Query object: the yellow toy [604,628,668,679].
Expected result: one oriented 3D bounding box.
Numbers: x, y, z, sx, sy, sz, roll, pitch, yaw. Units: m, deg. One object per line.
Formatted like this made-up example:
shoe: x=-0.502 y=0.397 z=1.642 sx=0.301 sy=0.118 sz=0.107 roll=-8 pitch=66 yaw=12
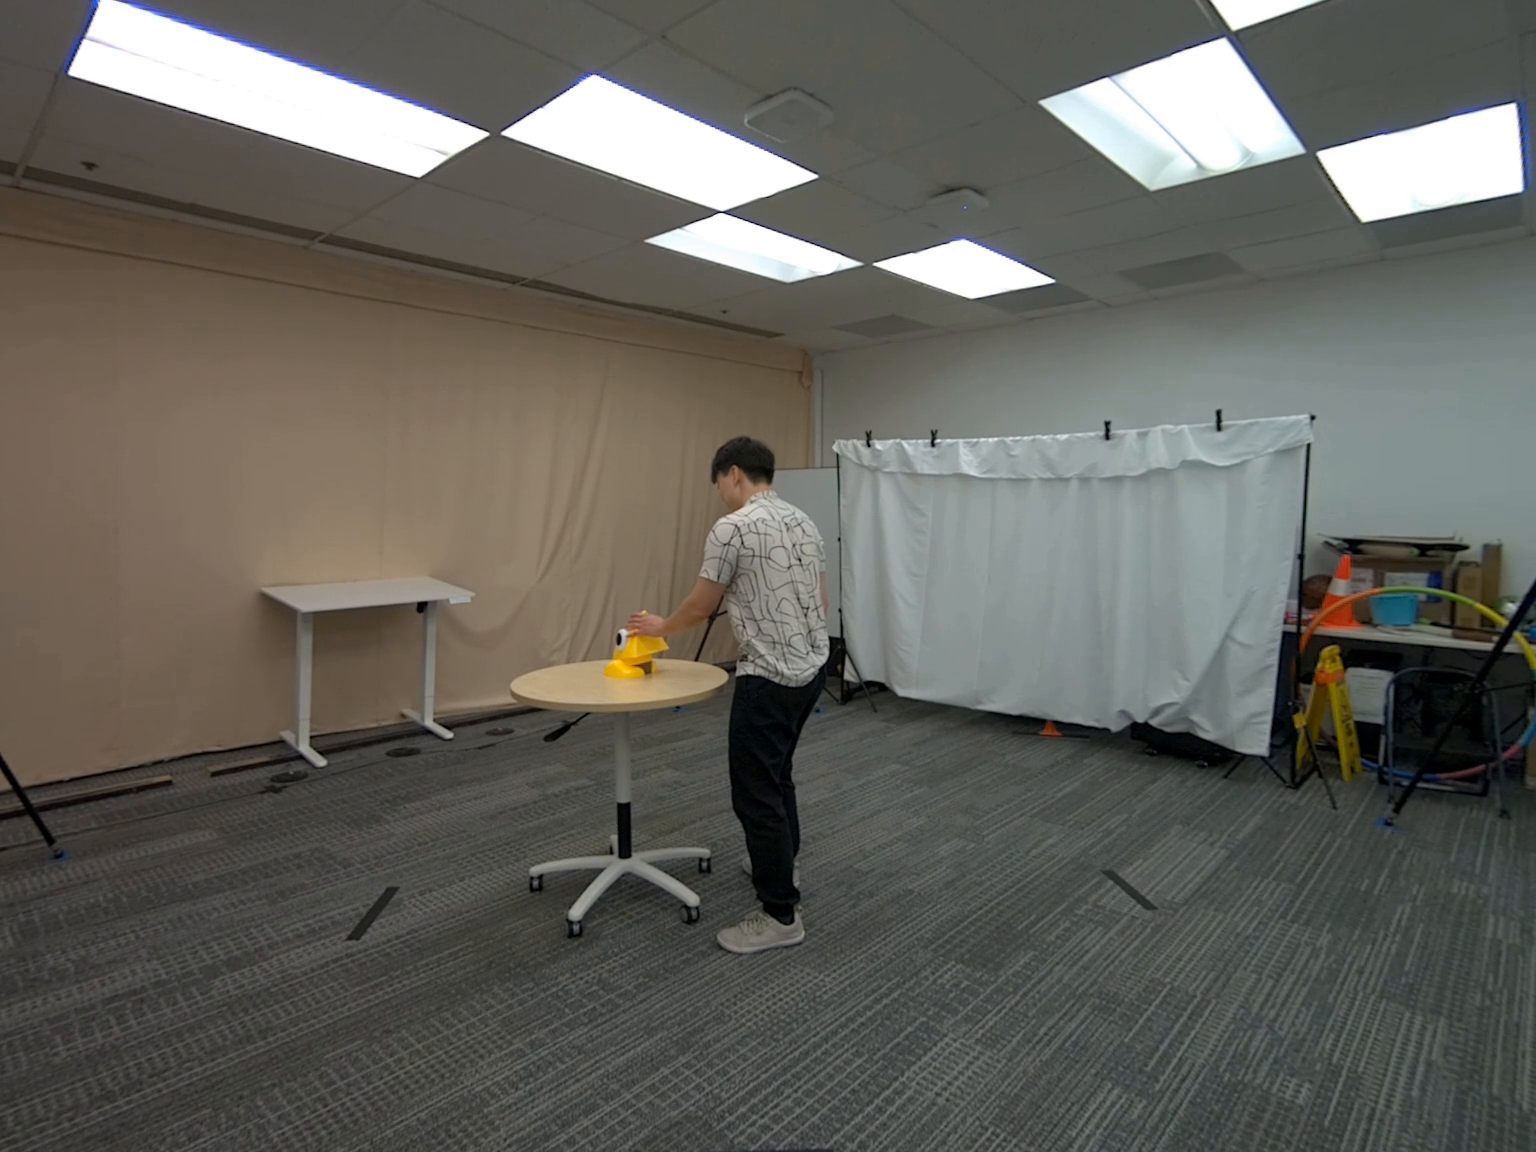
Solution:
yellow toy: x=-0.495 y=0.244 z=3.089 sx=0.199 sy=0.230 sz=0.199 roll=1 pitch=3 yaw=30
